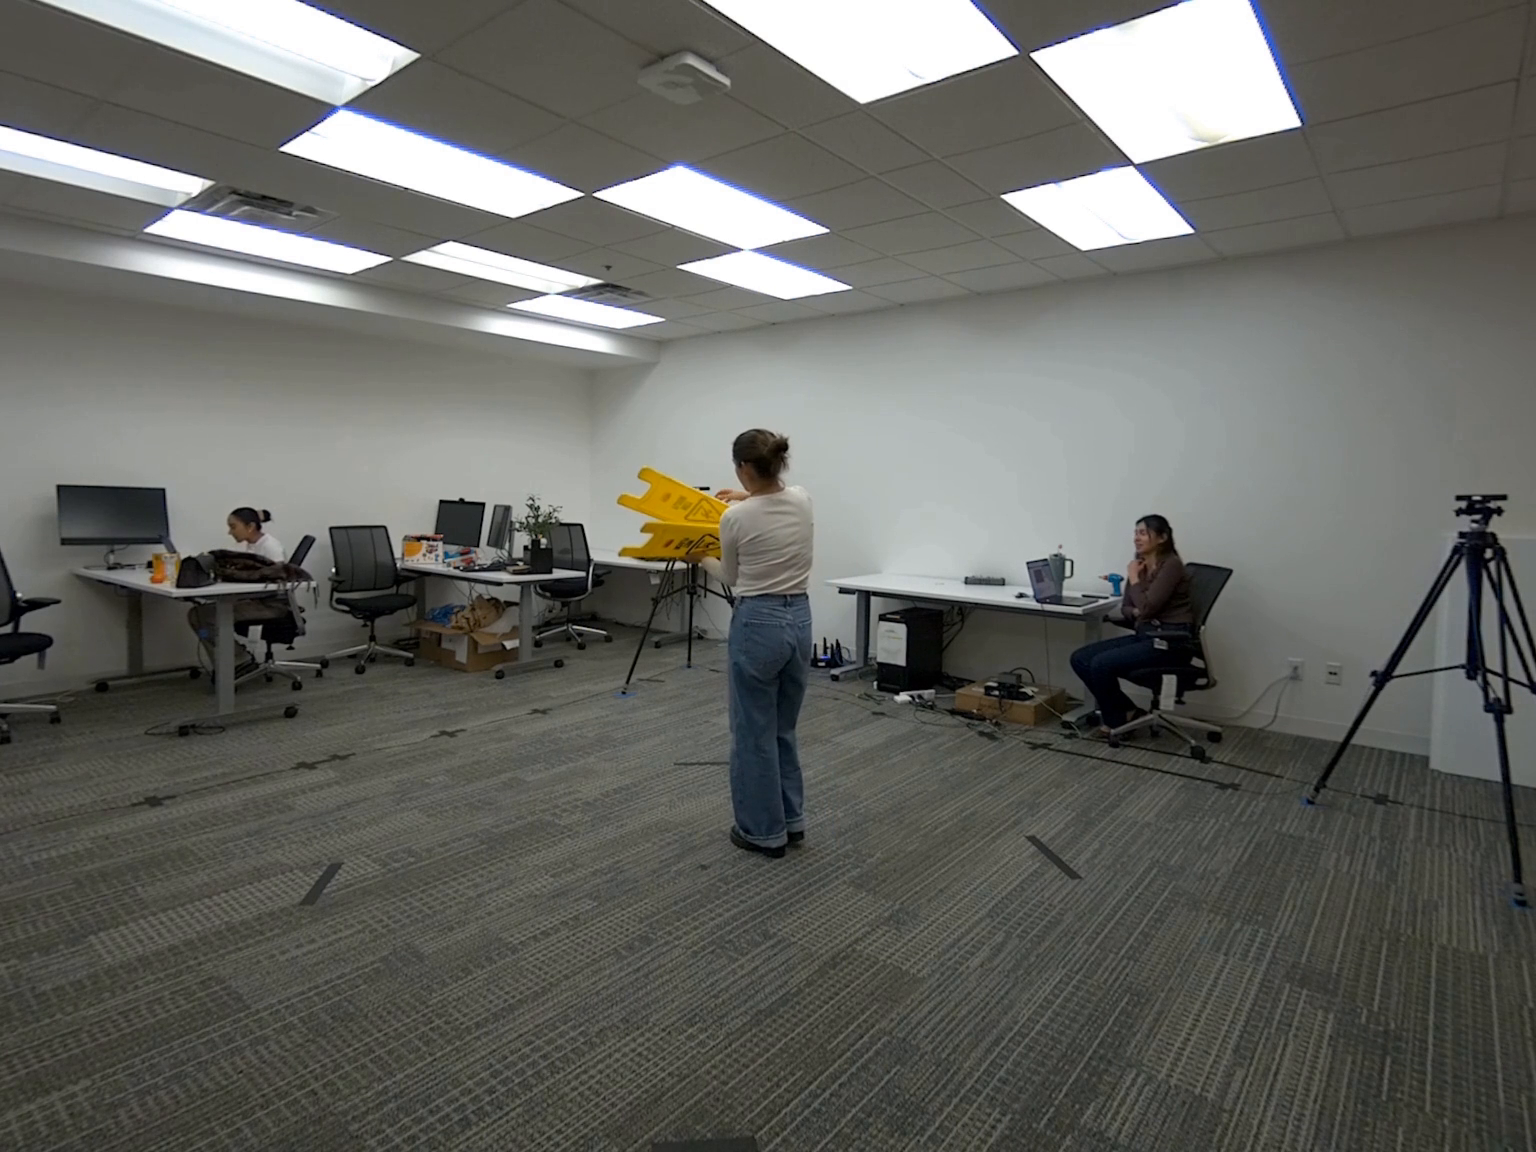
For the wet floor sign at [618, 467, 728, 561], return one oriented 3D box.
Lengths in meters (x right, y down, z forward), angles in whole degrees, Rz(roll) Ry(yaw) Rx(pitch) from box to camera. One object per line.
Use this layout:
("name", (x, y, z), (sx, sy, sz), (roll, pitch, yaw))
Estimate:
("wet floor sign", (-0.277, -0.189, 3.466), (0.627, 0.298, 0.283), (12, -36, -28))
